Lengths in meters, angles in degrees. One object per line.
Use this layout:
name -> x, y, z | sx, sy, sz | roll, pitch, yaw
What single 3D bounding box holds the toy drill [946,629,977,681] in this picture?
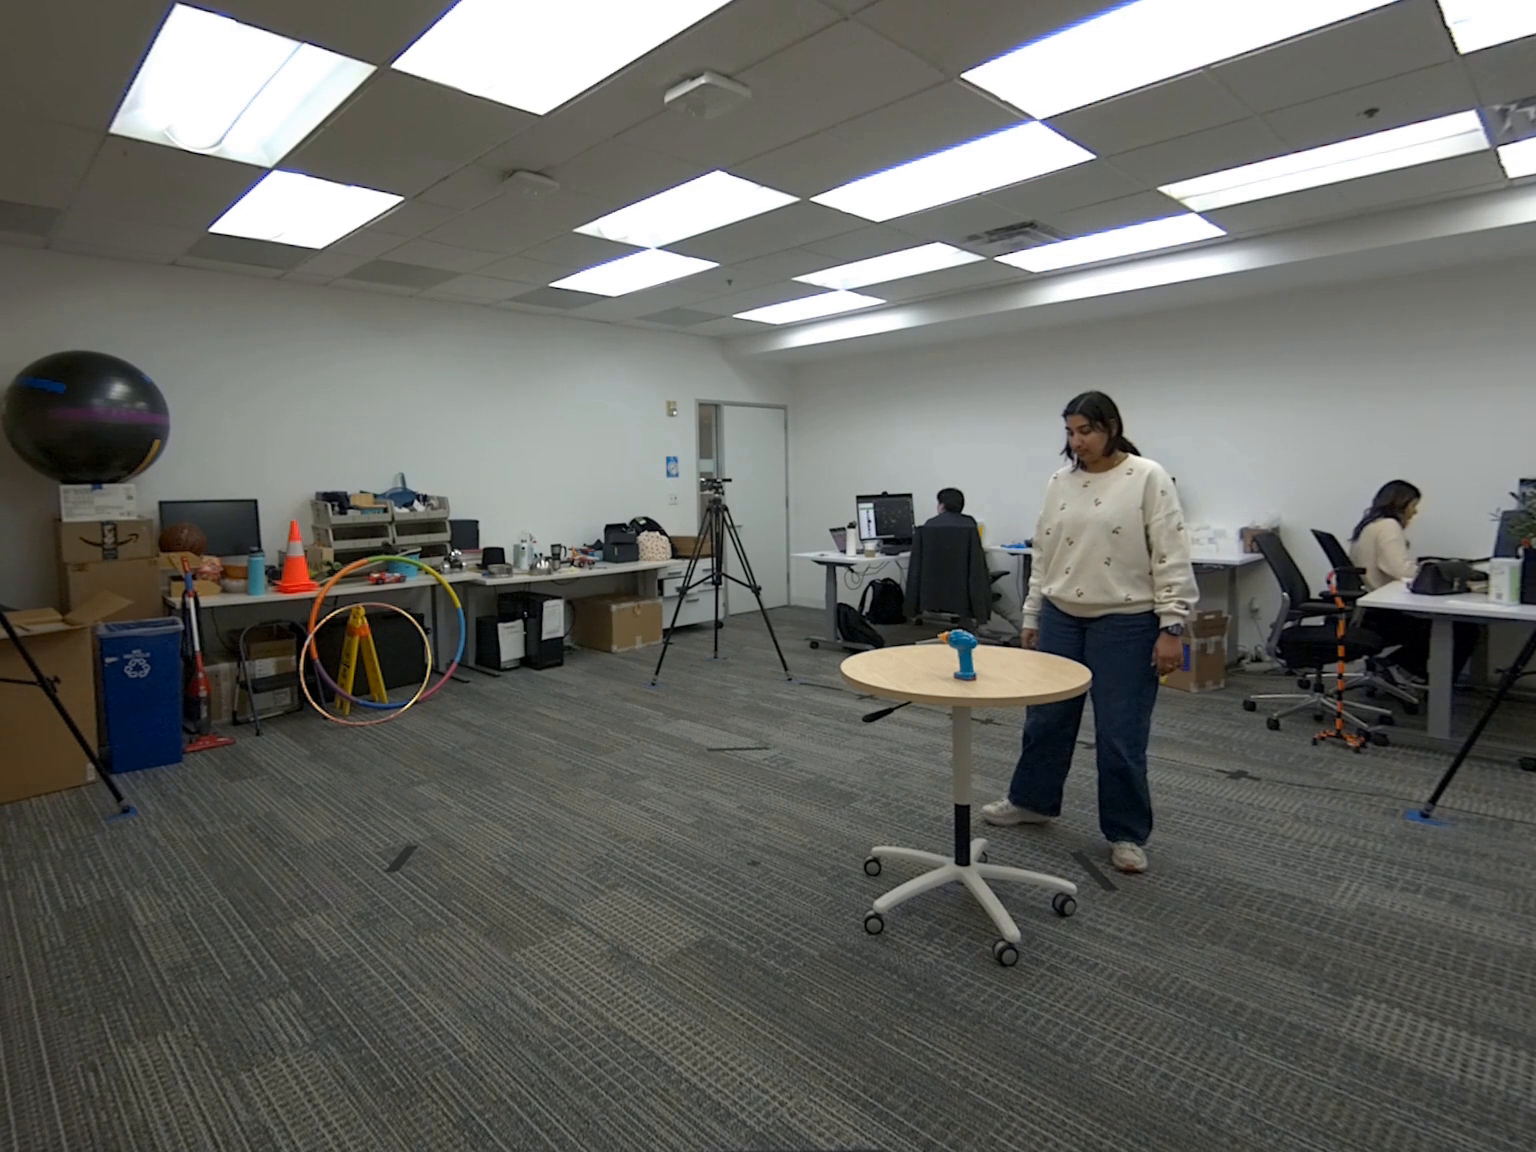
toy drill -> 0.582, 0.234, 2.601 | 0.060, 0.145, 0.174 | -5, 5, -26
